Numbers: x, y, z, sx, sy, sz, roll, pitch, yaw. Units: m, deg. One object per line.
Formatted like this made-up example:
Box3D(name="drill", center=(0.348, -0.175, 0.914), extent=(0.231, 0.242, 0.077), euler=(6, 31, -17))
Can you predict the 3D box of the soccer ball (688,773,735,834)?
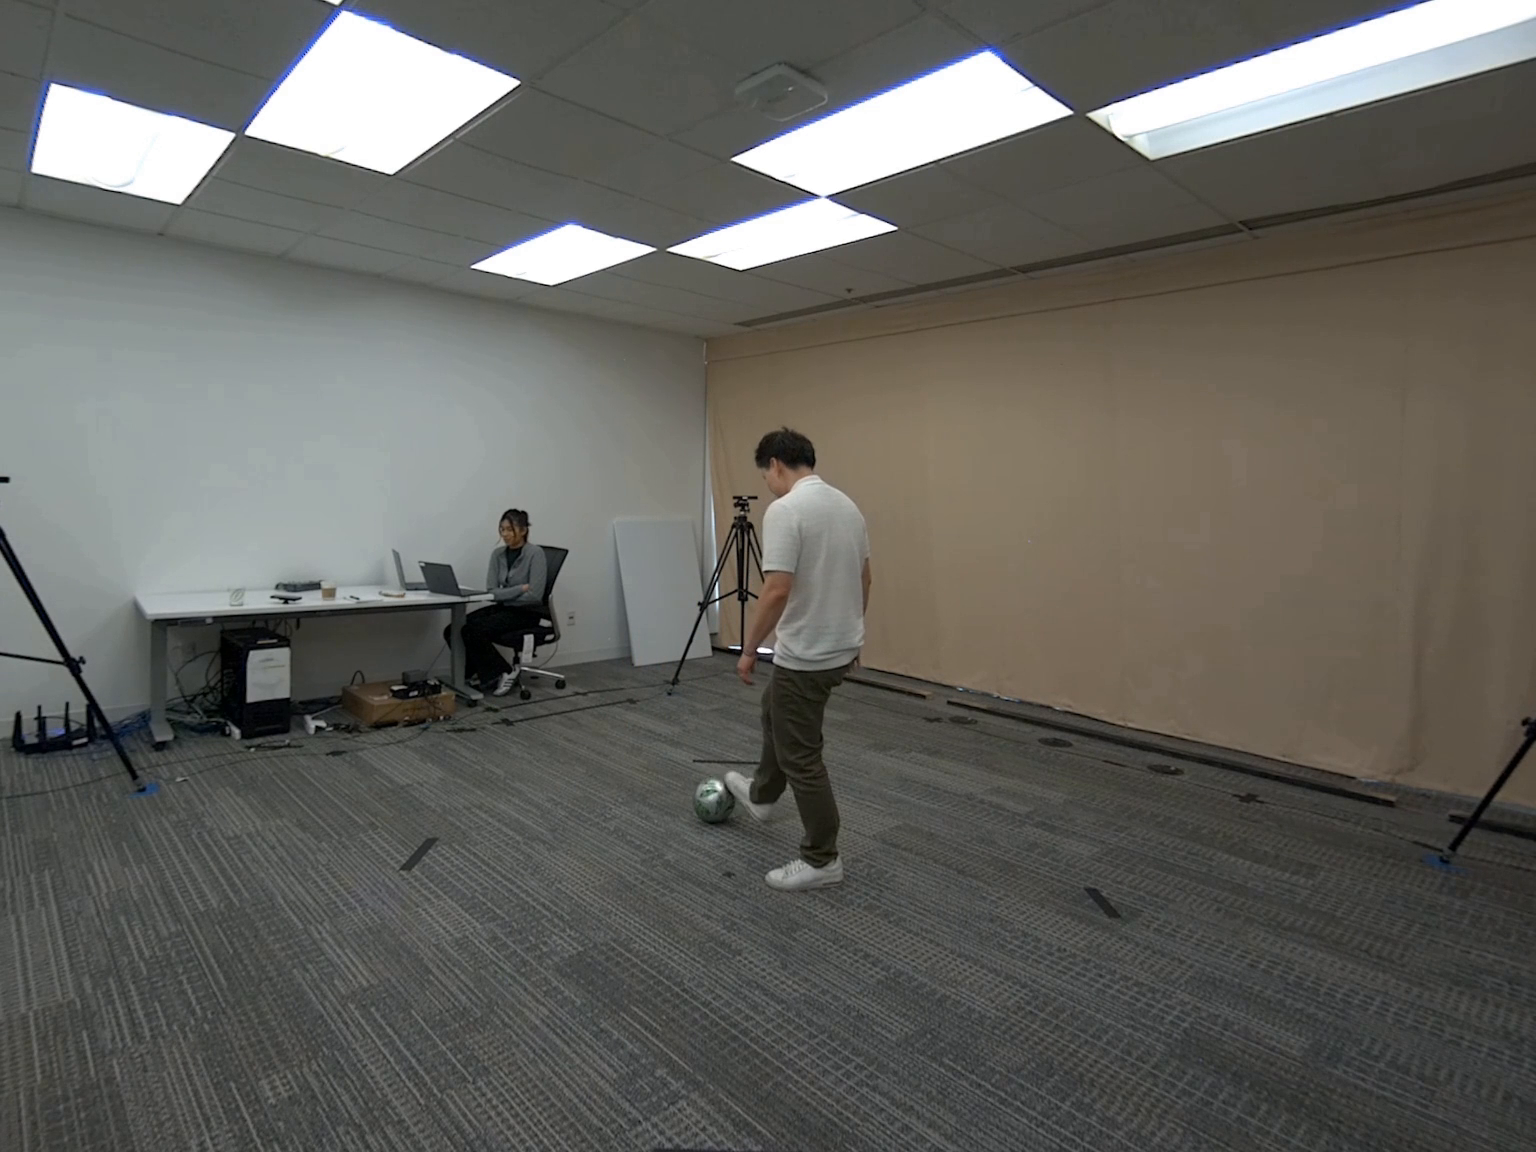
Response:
Box3D(name="soccer ball", center=(-0.243, 0.969, 3.616), extent=(0.187, 0.187, 0.188), euler=(1, 4, -1))
